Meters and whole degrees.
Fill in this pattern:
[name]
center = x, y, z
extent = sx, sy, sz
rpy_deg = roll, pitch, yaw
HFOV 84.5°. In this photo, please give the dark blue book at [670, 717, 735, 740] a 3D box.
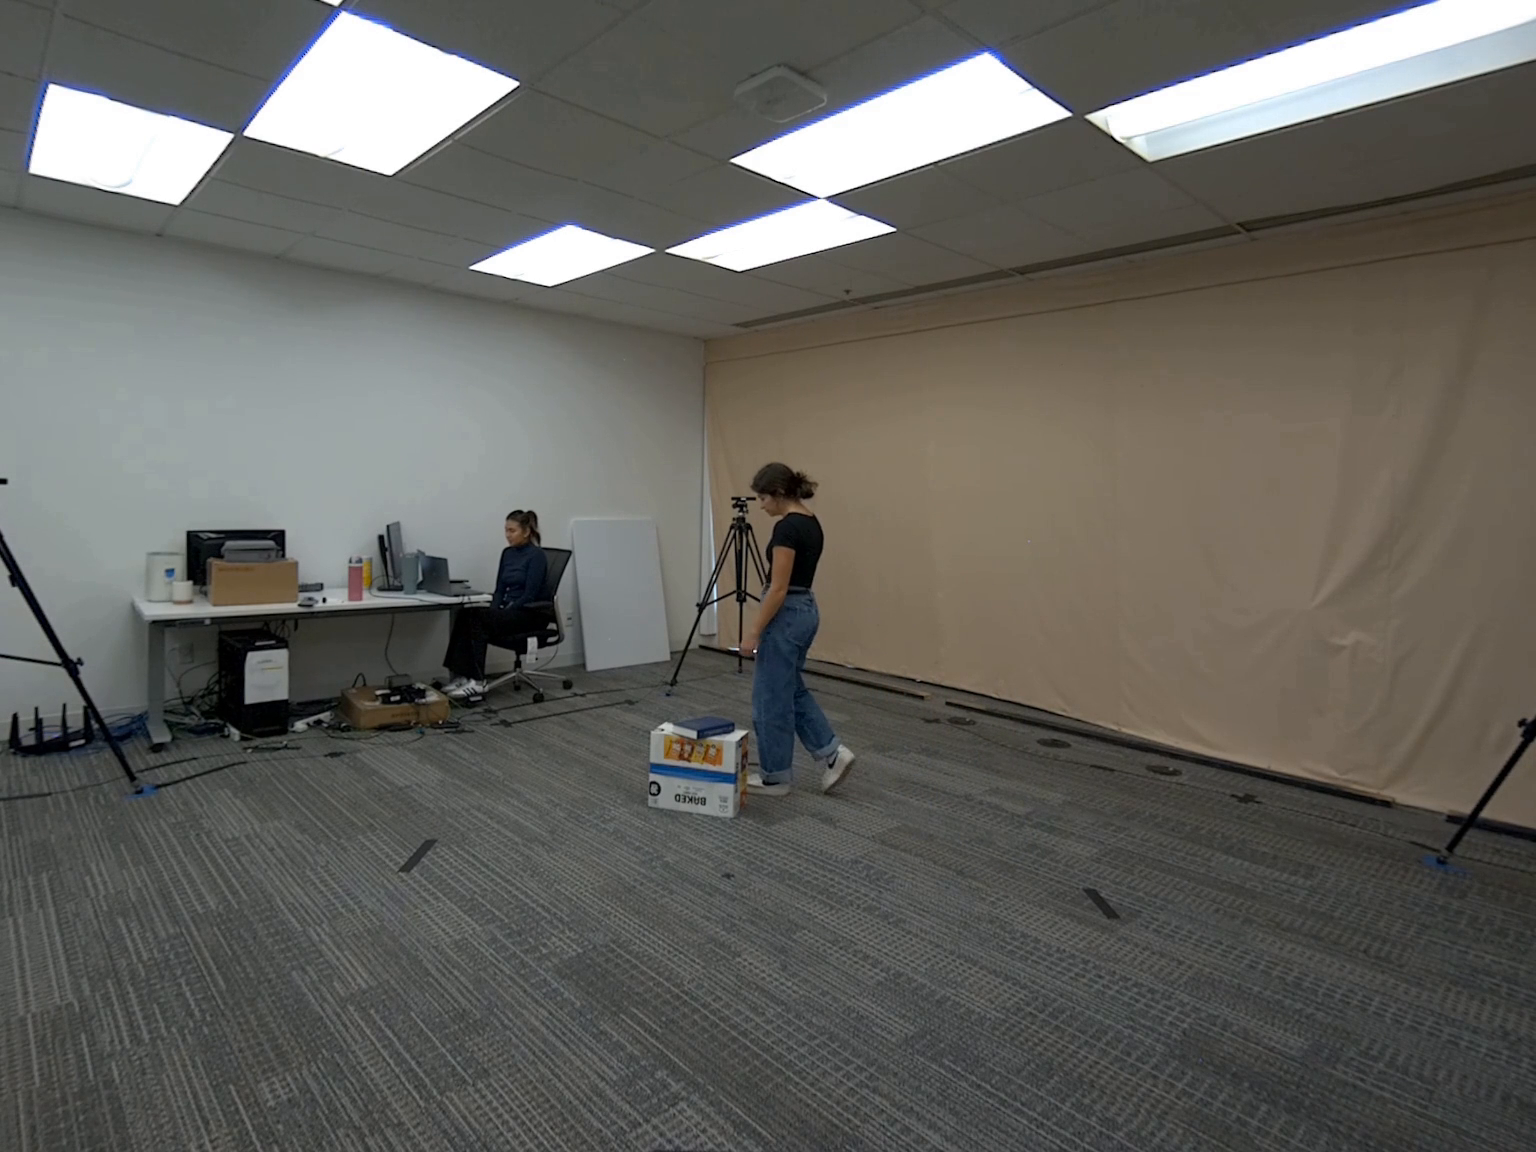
[dark blue book]
center = -0.298, 0.680, 3.794
extent = 0.167, 0.045, 0.239
rpy_deg = 4, 4, 41
